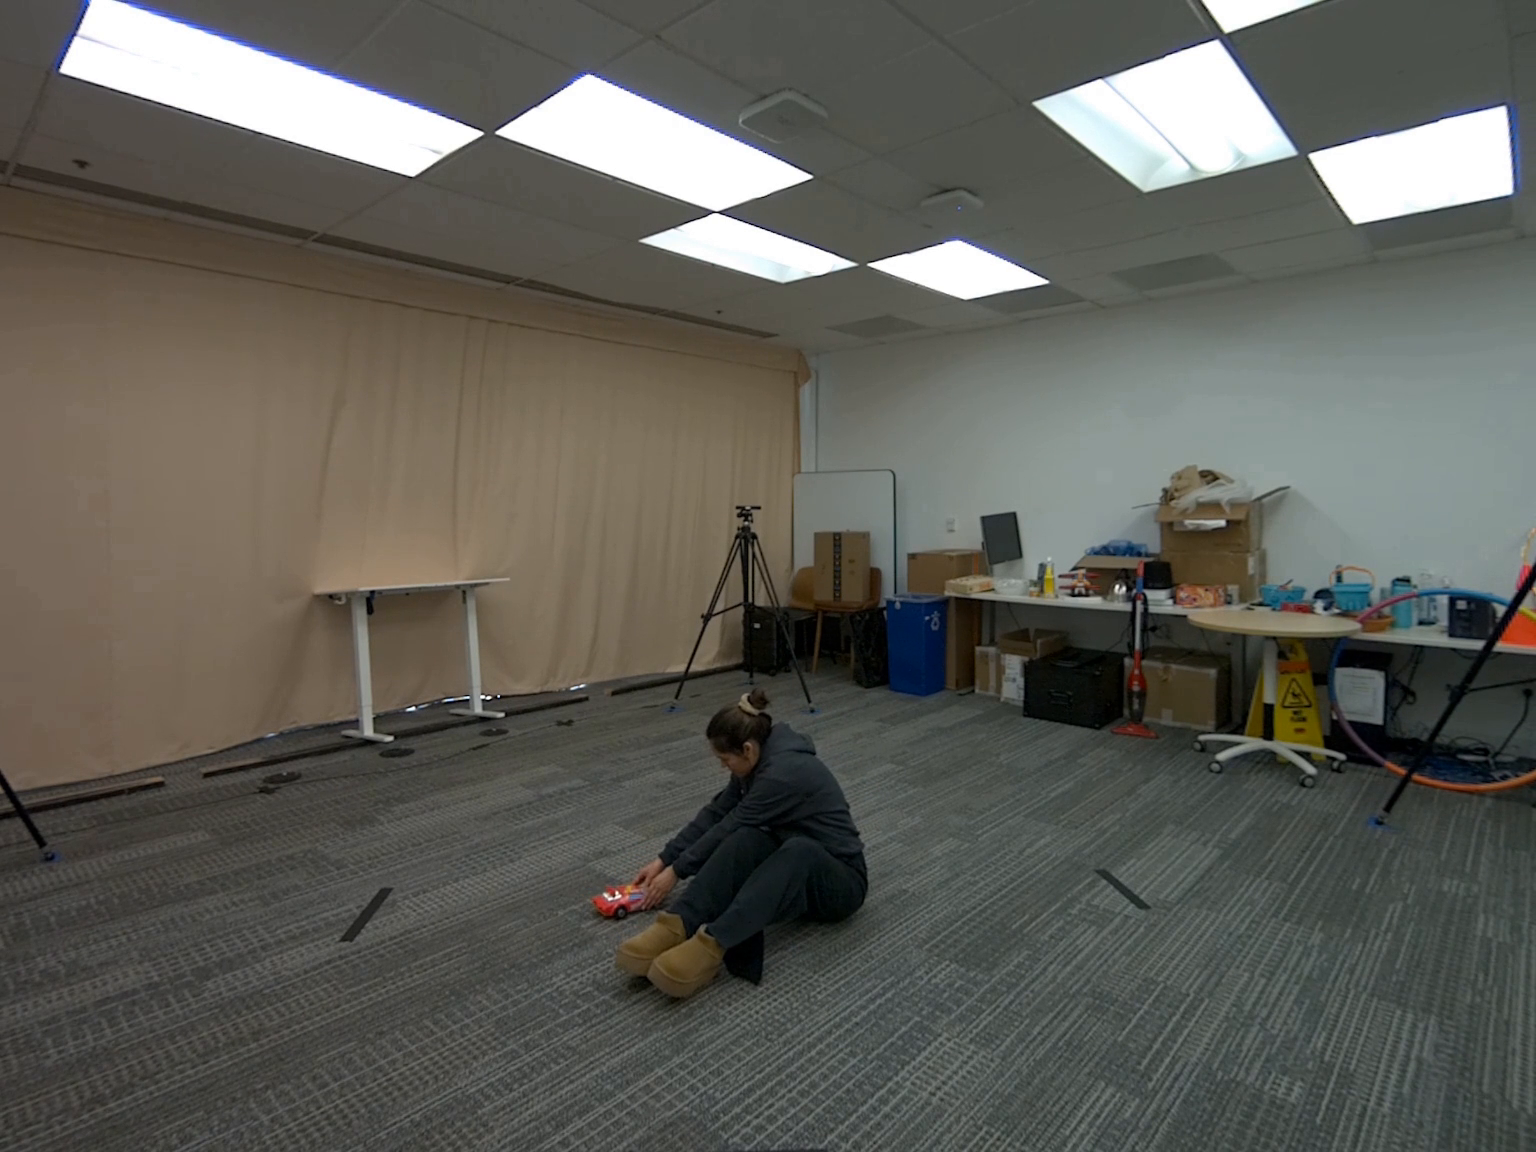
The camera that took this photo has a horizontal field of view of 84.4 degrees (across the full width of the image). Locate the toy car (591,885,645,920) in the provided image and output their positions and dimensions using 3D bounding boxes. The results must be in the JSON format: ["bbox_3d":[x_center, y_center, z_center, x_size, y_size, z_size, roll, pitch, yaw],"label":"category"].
[{"bbox_3d":[-0.472,1.127,2.915,0.247,0.083,0.134,13,-5,-31],"label":"toy car"}]
